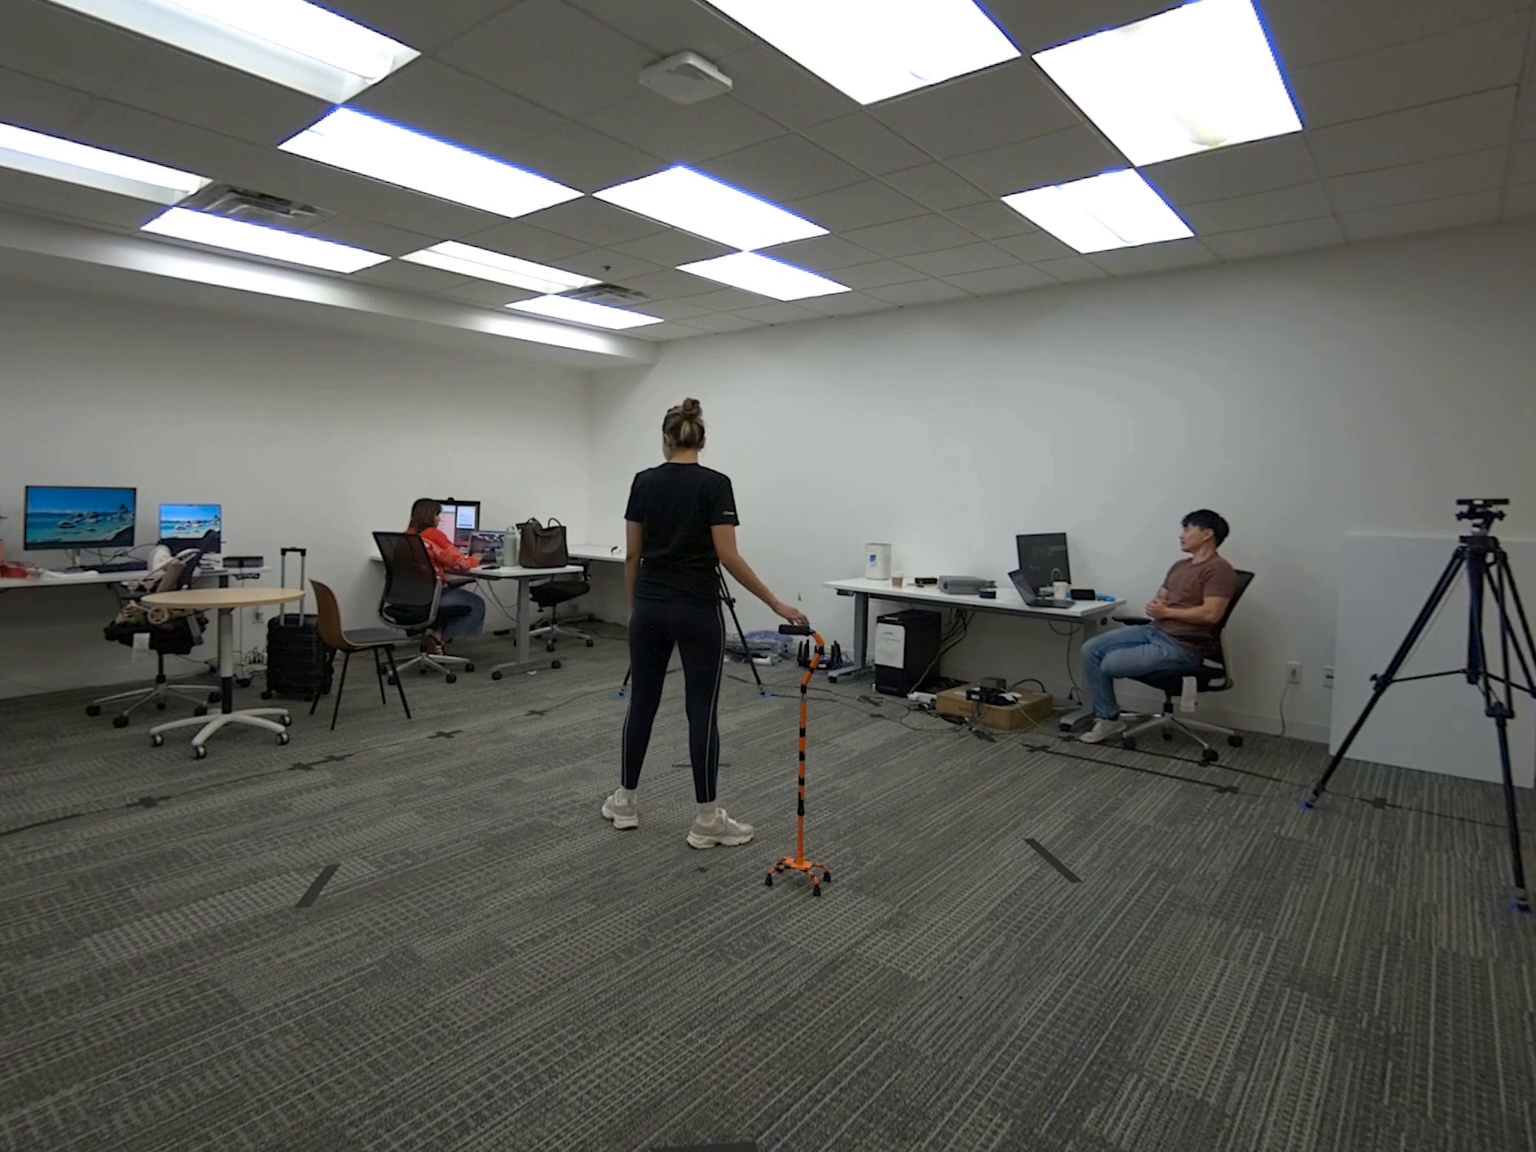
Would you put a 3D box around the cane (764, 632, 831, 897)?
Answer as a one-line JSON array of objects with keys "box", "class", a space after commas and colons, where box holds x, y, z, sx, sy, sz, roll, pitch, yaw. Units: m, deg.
[{"box": [0.109, 0.630, 2.998, 0.211, 0.905, 0.149, 2, 3, 18], "class": "cane"}]
